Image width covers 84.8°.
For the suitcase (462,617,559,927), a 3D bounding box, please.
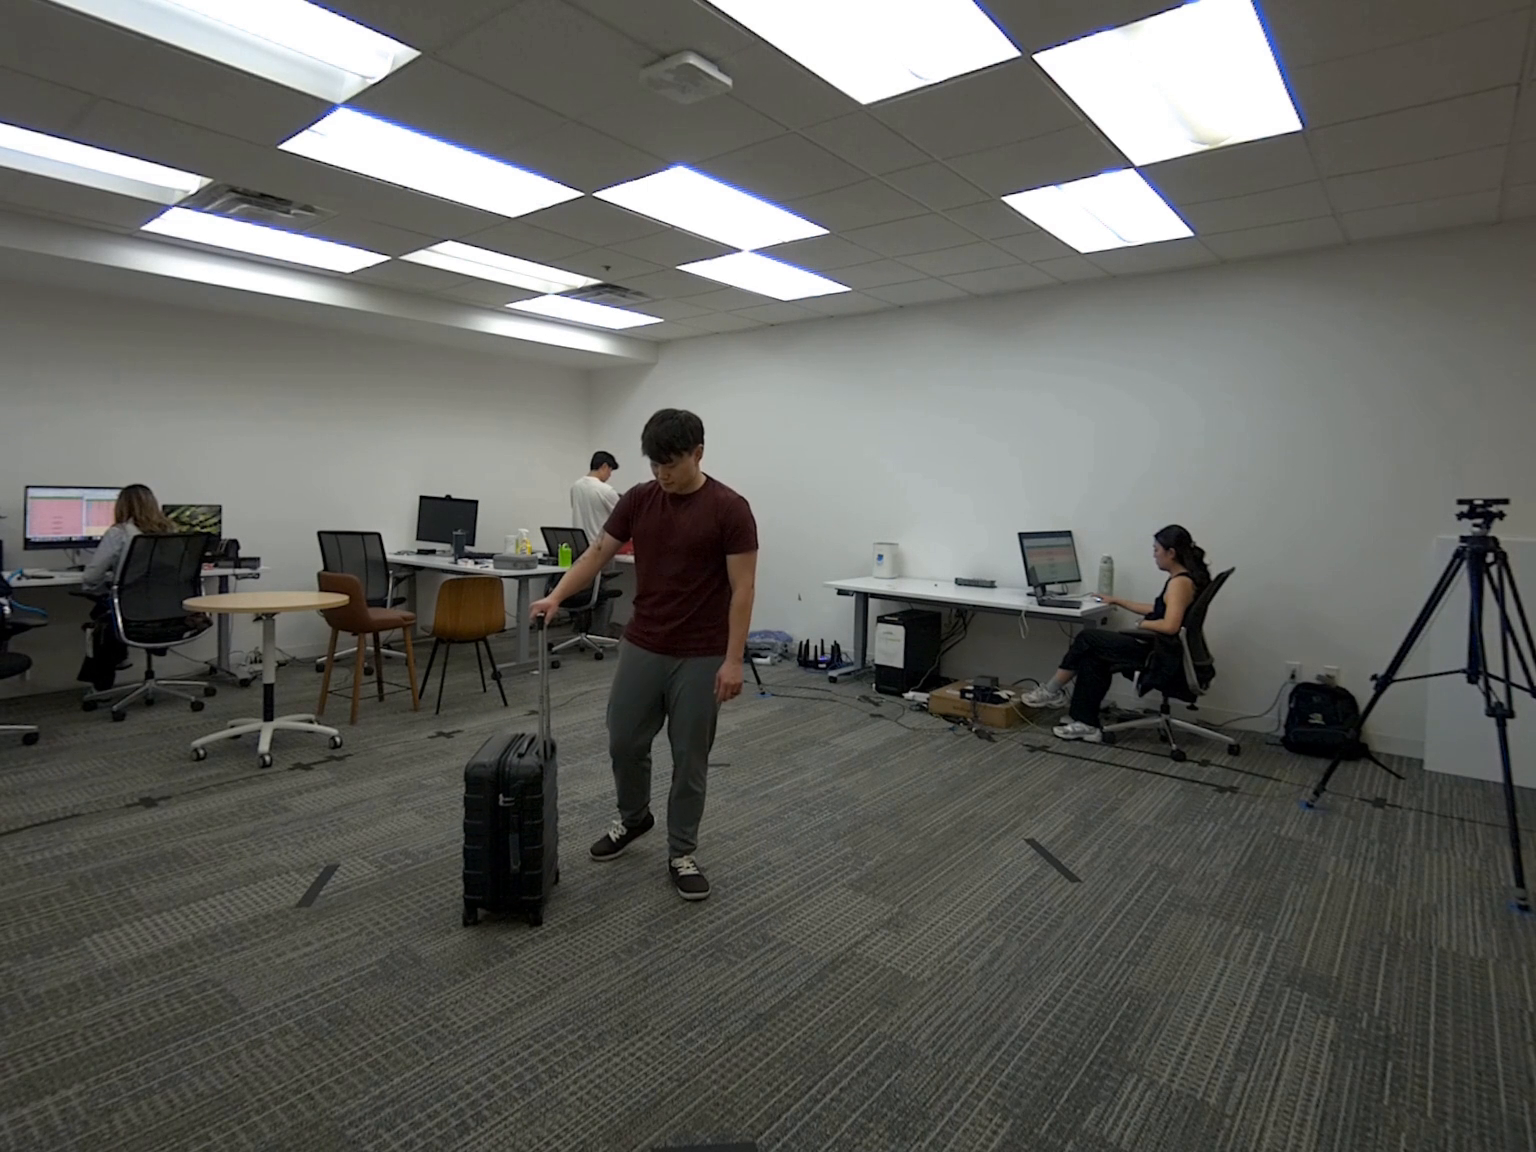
[{"bbox_3d":[-0.860,0.616,2.789,0.256,0.974,0.387,-1,4,-4],"label":"suitcase"}]
